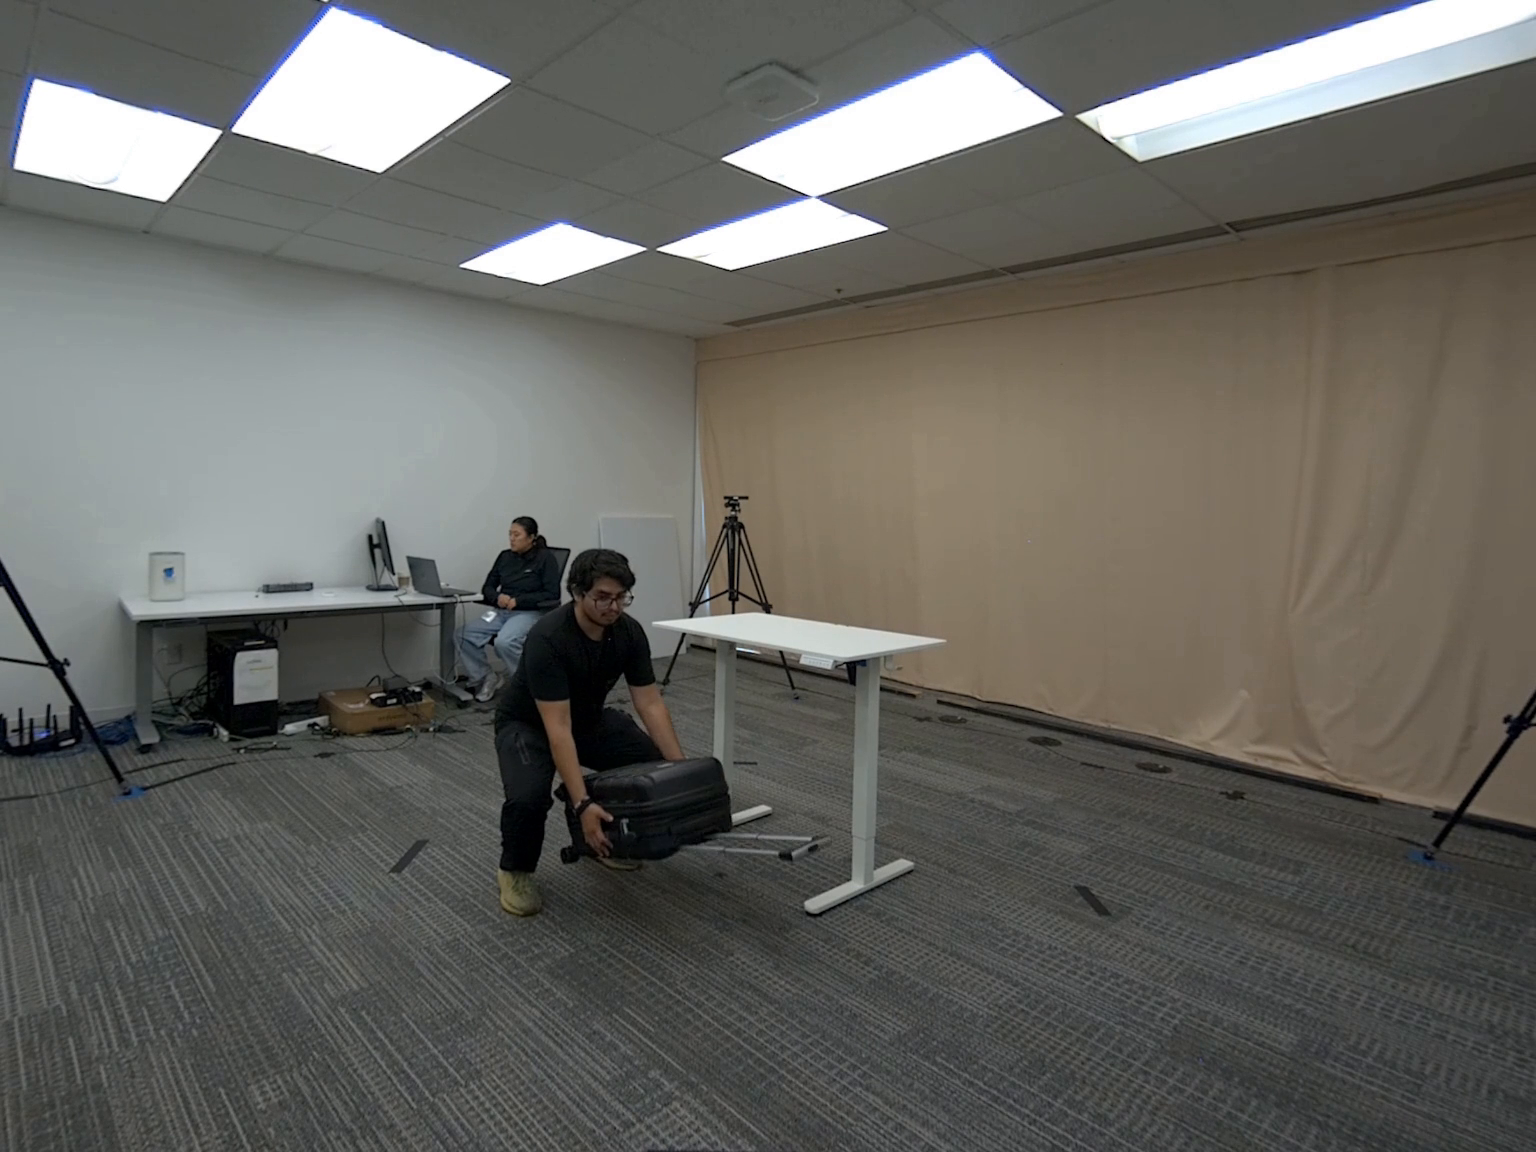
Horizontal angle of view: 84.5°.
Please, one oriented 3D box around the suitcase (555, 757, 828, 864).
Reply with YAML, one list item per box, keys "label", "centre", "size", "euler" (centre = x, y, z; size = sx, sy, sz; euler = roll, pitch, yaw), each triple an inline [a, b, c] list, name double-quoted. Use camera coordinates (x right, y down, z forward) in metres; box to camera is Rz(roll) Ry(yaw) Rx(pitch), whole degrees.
- label: "suitcase"
  centre: [-0.258, 0.701, 2.543]
  size: [0.375, 0.259, 0.993]
  euler: [-3, -11, -44]
